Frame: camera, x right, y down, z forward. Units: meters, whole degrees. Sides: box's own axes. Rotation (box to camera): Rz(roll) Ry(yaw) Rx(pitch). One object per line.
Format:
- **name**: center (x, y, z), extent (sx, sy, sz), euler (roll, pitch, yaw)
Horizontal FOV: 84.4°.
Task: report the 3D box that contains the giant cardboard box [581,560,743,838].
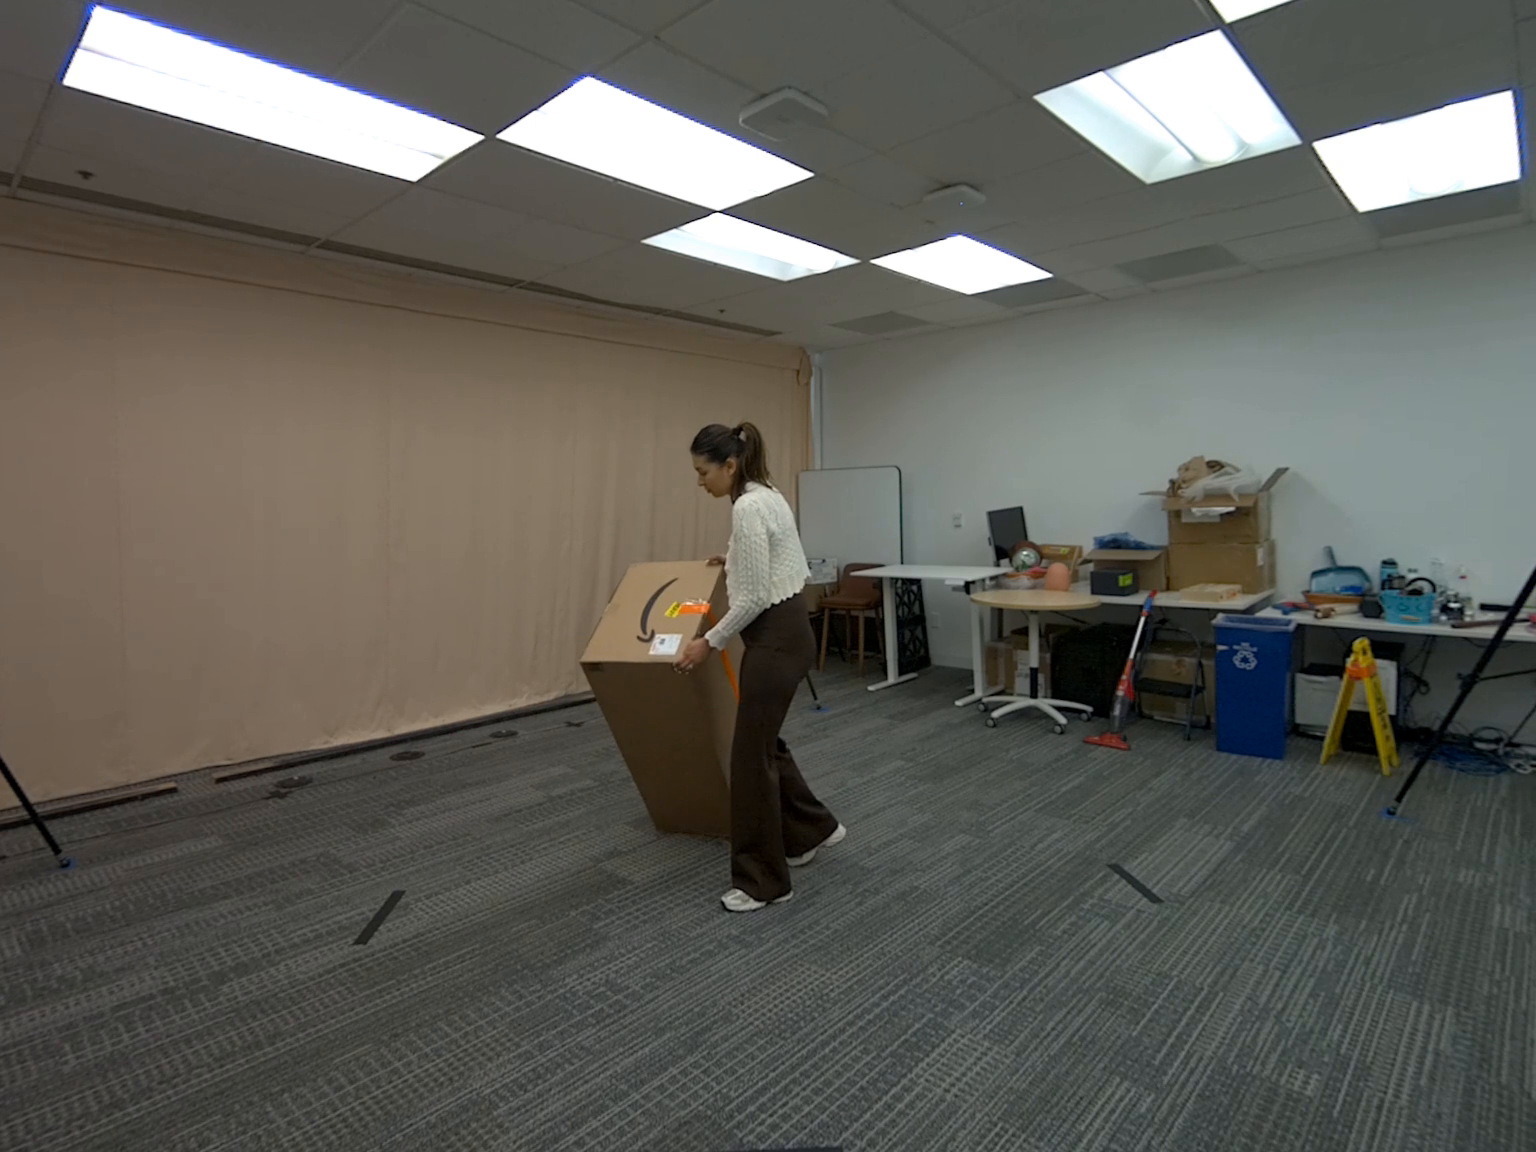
- **giant cardboard box**: center (-0.331, 0.522, 3.496), extent (0.435, 1.000, 0.580), euler (-2, 38, 19)
